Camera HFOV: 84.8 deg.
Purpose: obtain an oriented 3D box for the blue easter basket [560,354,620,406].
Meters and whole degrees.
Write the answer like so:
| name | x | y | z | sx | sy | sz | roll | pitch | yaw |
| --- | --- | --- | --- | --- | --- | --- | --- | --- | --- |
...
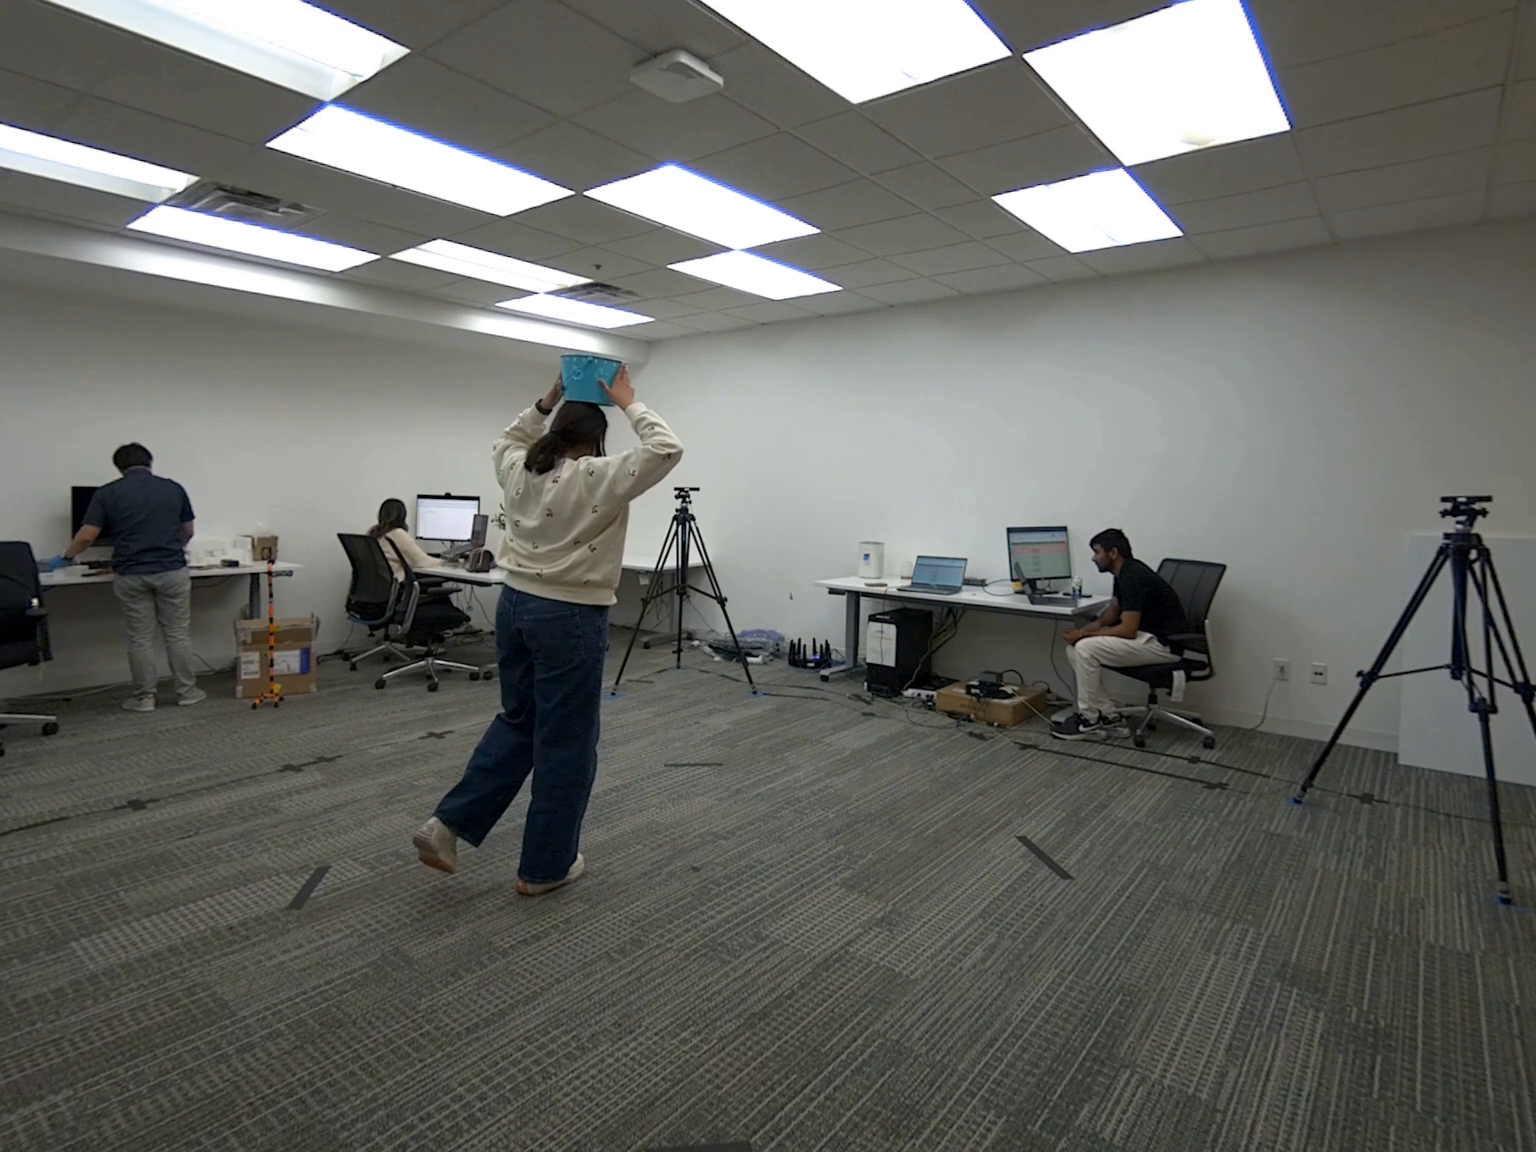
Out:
| name | x | y | z | sx | sy | sz | roll | pitch | yaw |
| --- | --- | --- | --- | --- | --- | --- | --- | --- | --- |
| blue easter basket | -0.629 | -0.676 | 2.945 | 0.243 | 0.155 | 0.245 | 7 | 7 | -3 |
